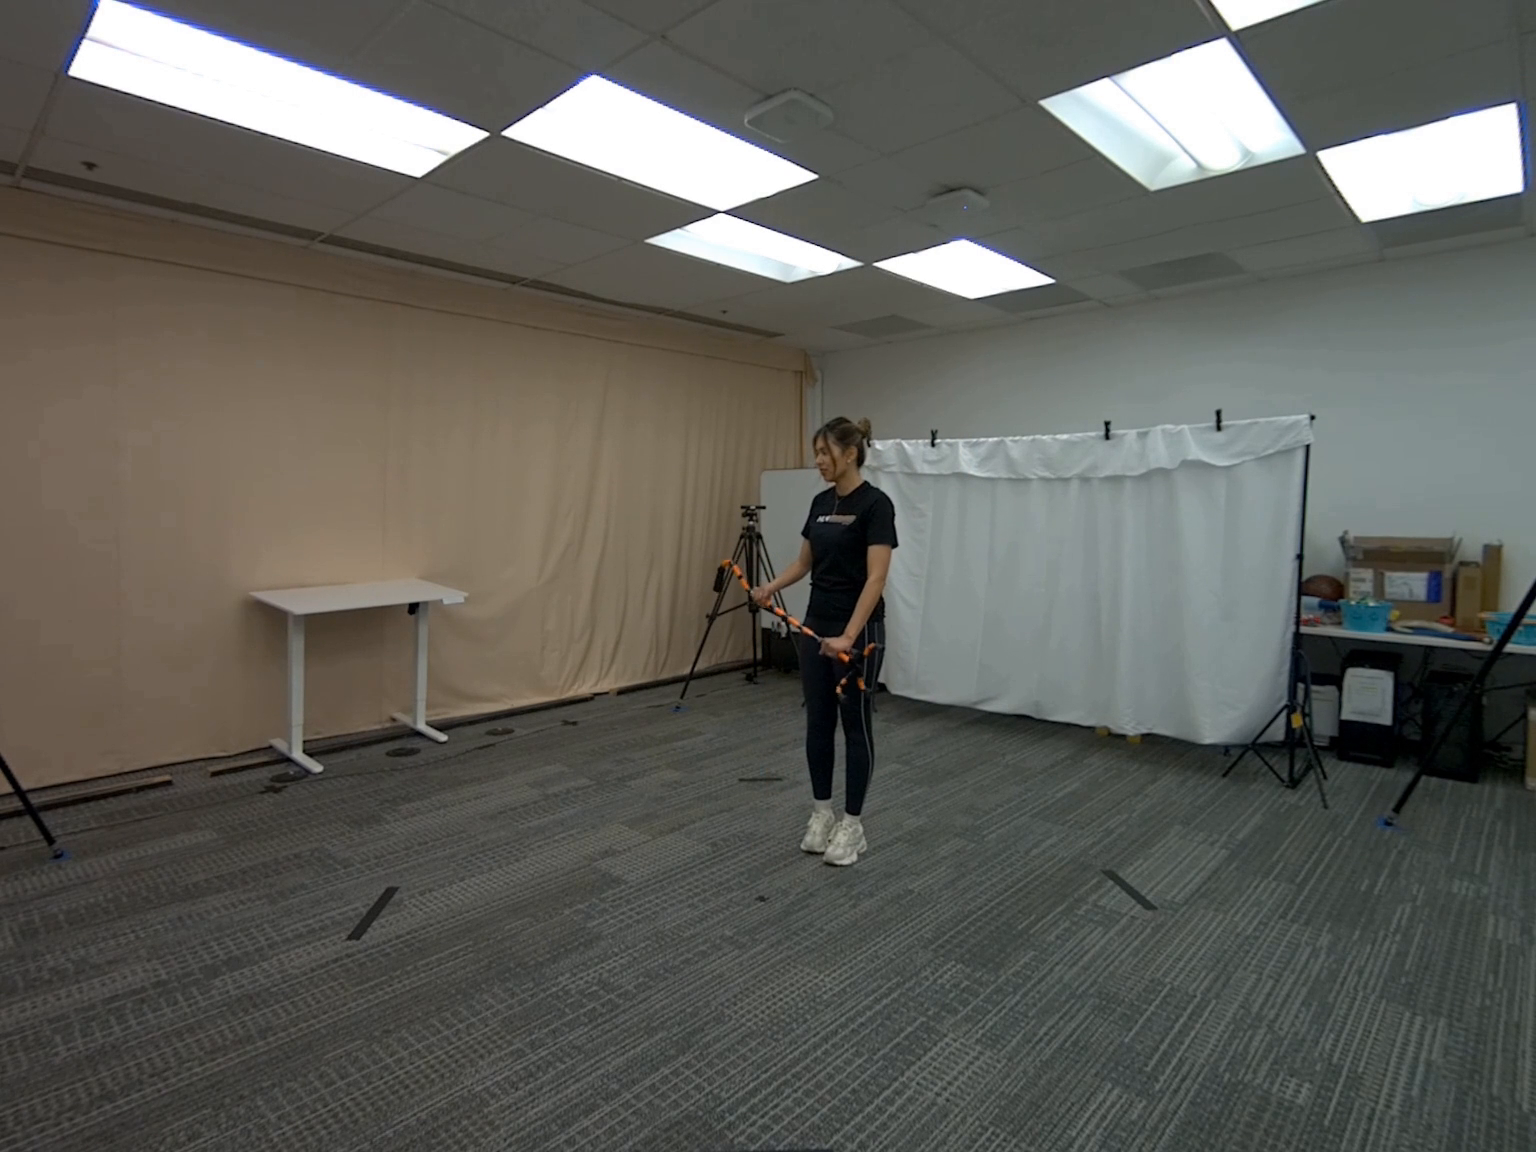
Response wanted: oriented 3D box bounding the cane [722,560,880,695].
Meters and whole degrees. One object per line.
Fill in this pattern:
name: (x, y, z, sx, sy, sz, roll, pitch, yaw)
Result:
cane: (0.057, 0.172, 3.244, 0.147, 0.205, 0.942, -1, 23, -38)
